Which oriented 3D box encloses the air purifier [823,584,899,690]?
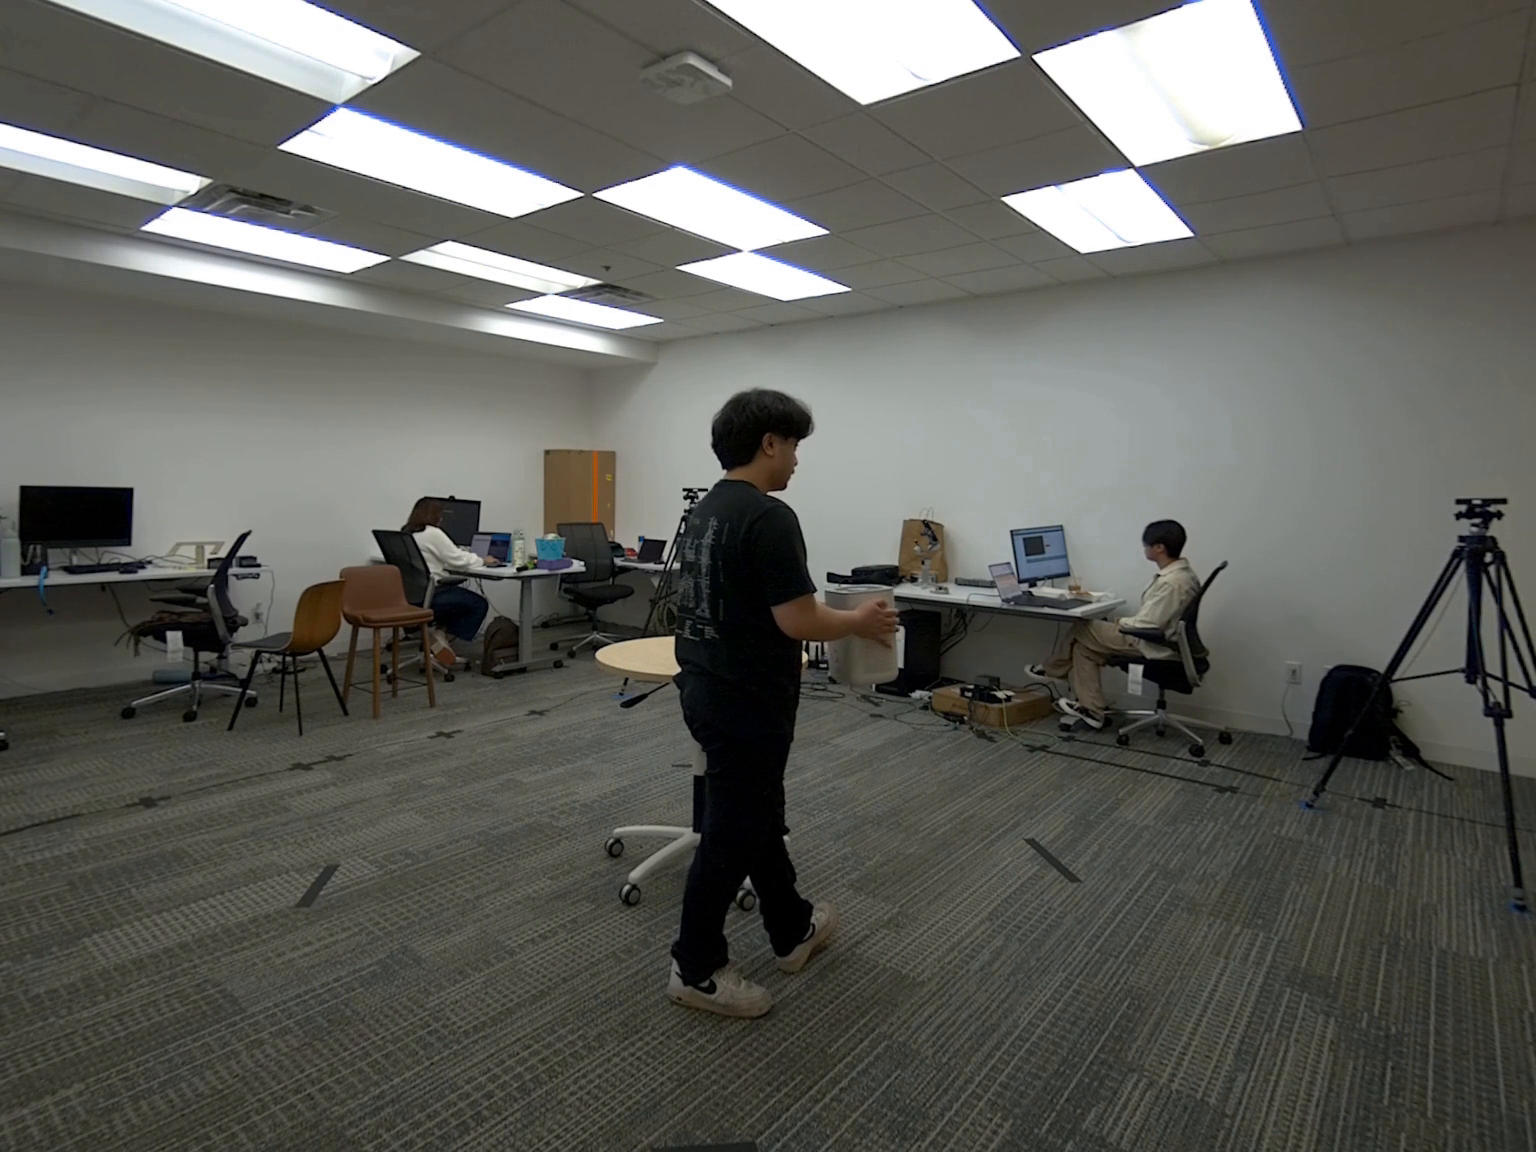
[{"bbox_3d":[0.259,0.167,2.430,0.168,0.264,0.175,-6,6,-21],"label":"air purifier"}]
